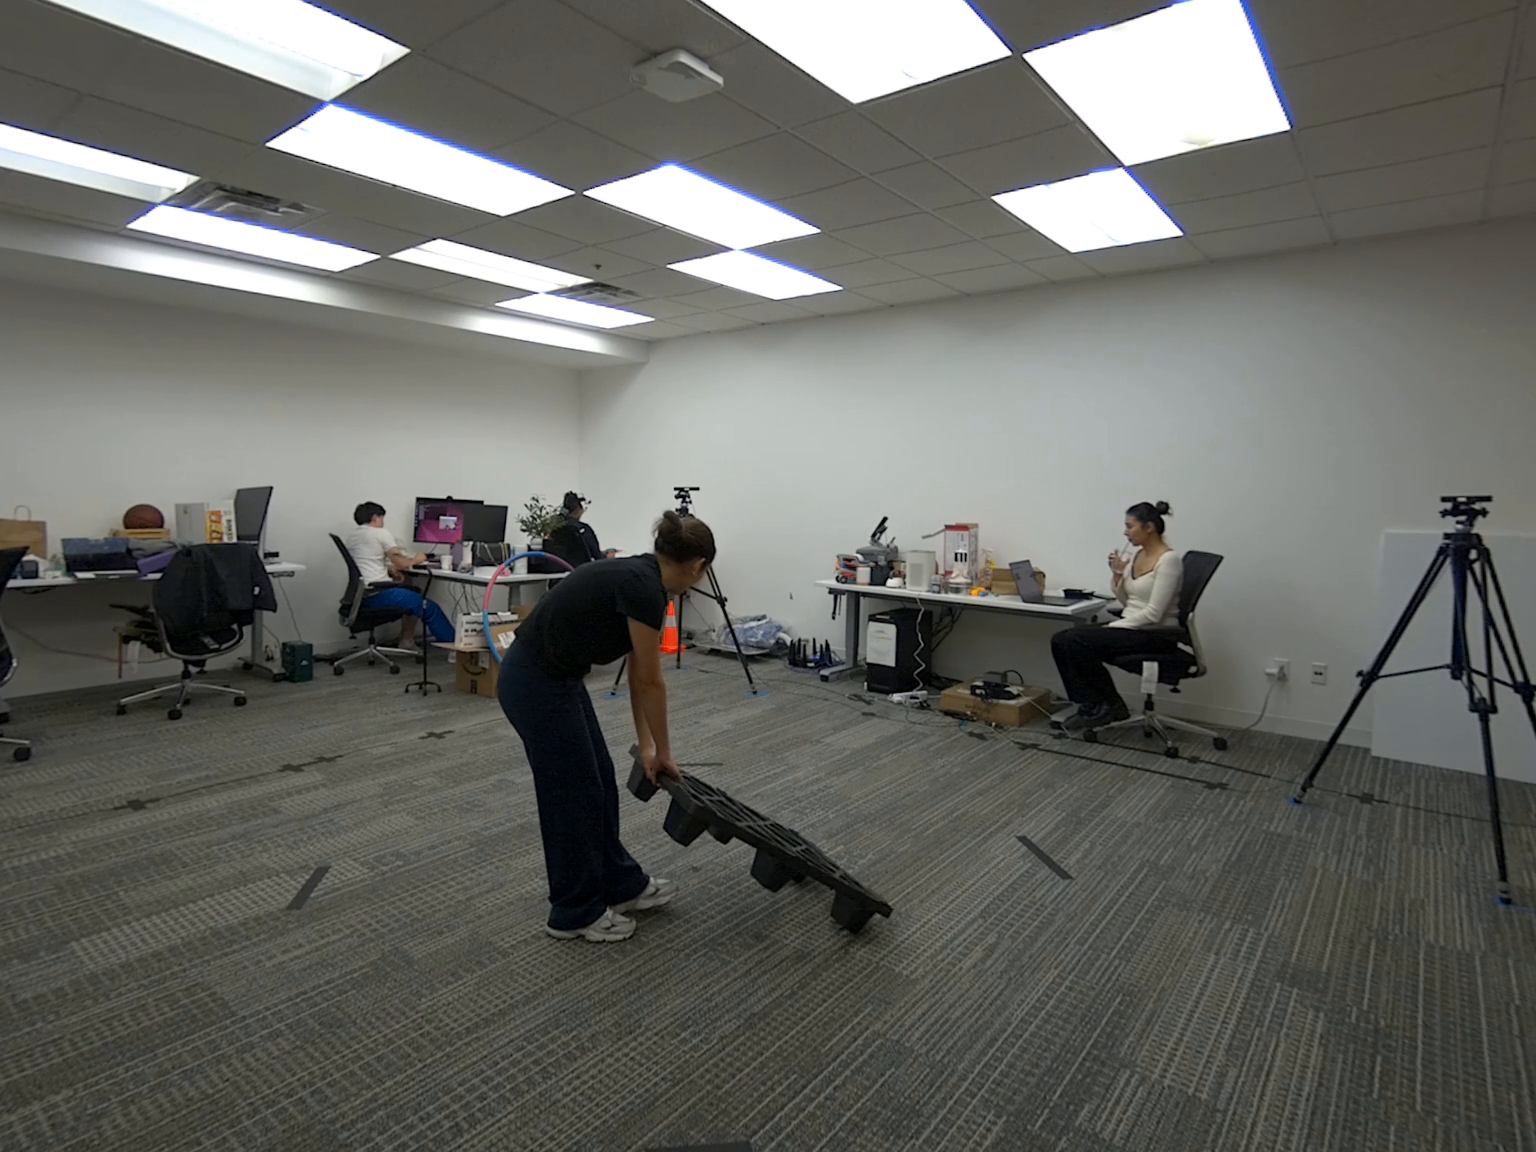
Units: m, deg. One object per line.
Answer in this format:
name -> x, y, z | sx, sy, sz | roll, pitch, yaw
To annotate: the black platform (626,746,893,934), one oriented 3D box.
black platform -> -0.058, 0.849, 2.772 | 0.783, 0.144, 0.621 | 35, -10, -22
